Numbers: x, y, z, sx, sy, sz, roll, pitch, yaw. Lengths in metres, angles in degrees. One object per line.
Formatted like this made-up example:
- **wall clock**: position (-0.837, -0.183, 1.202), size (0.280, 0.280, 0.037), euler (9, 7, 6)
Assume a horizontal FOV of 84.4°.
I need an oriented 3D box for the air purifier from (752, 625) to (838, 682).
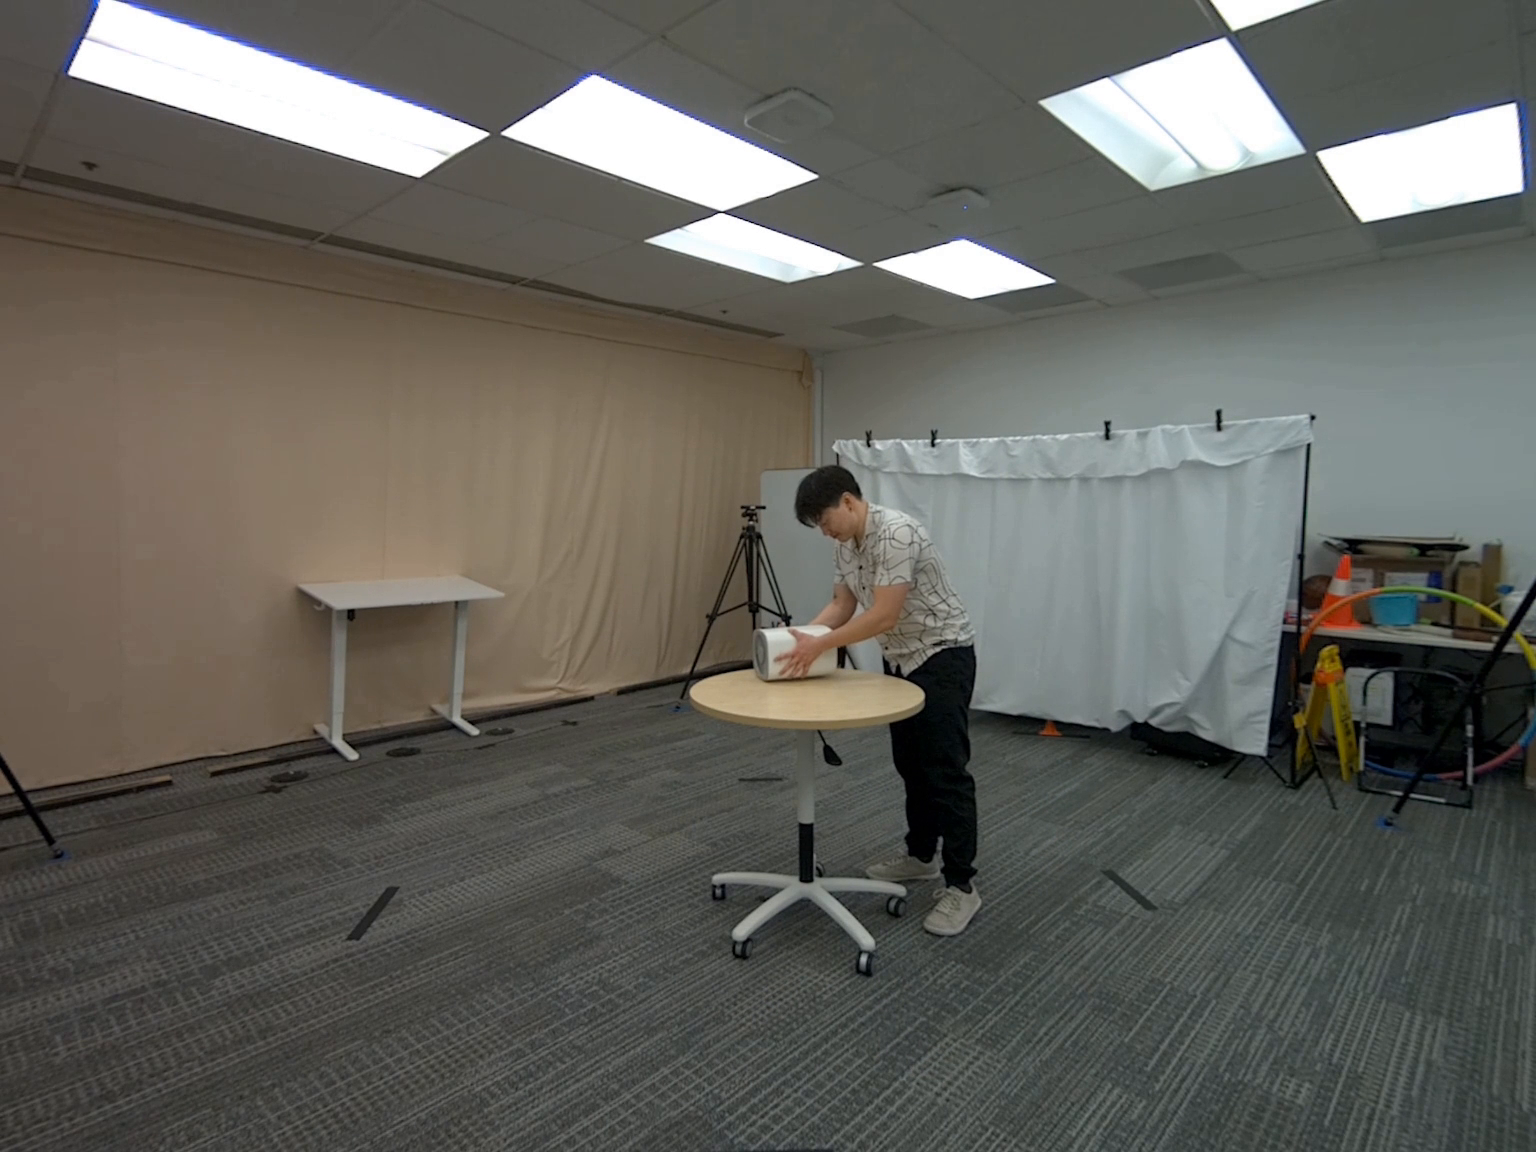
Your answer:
- **air purifier**: position (0.103, 0.273, 2.973), size (0.261, 0.171, 0.174), euler (-2, 2, -15)
